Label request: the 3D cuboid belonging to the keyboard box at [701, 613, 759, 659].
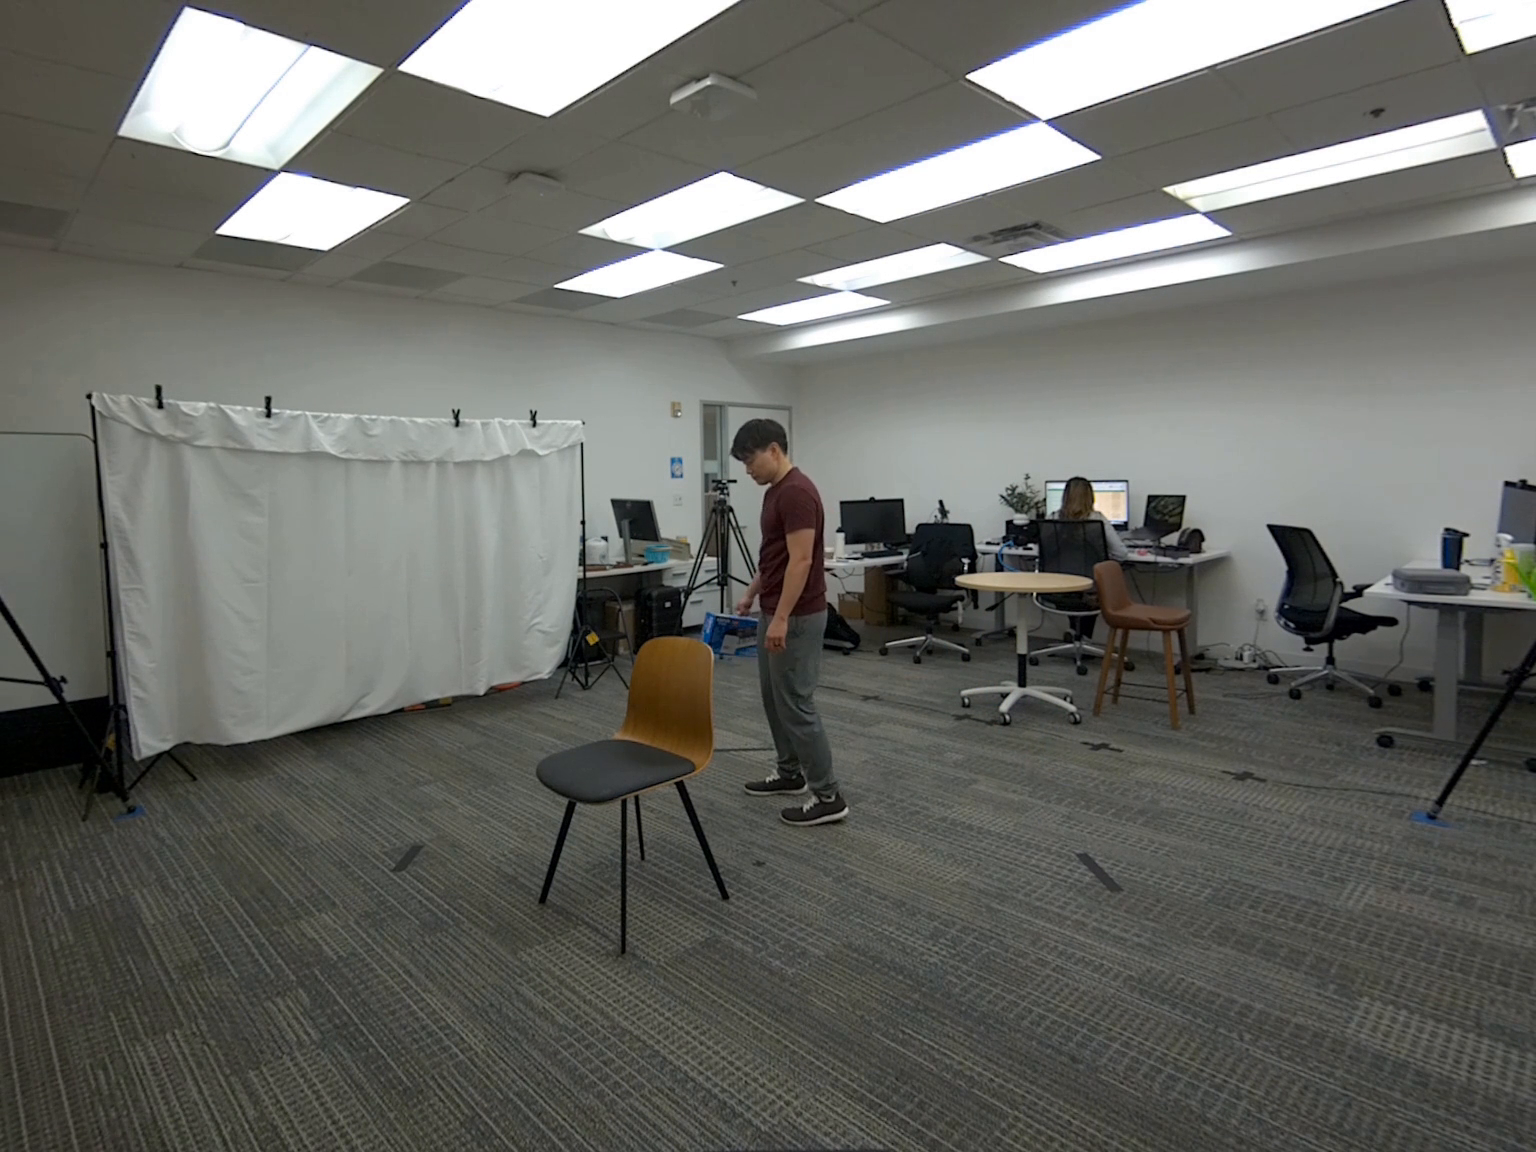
[{"bbox_3d":[-0.128,0.270,3.856,0.061,0.176,0.422,16,3,39],"label":"keyboard box"}]
